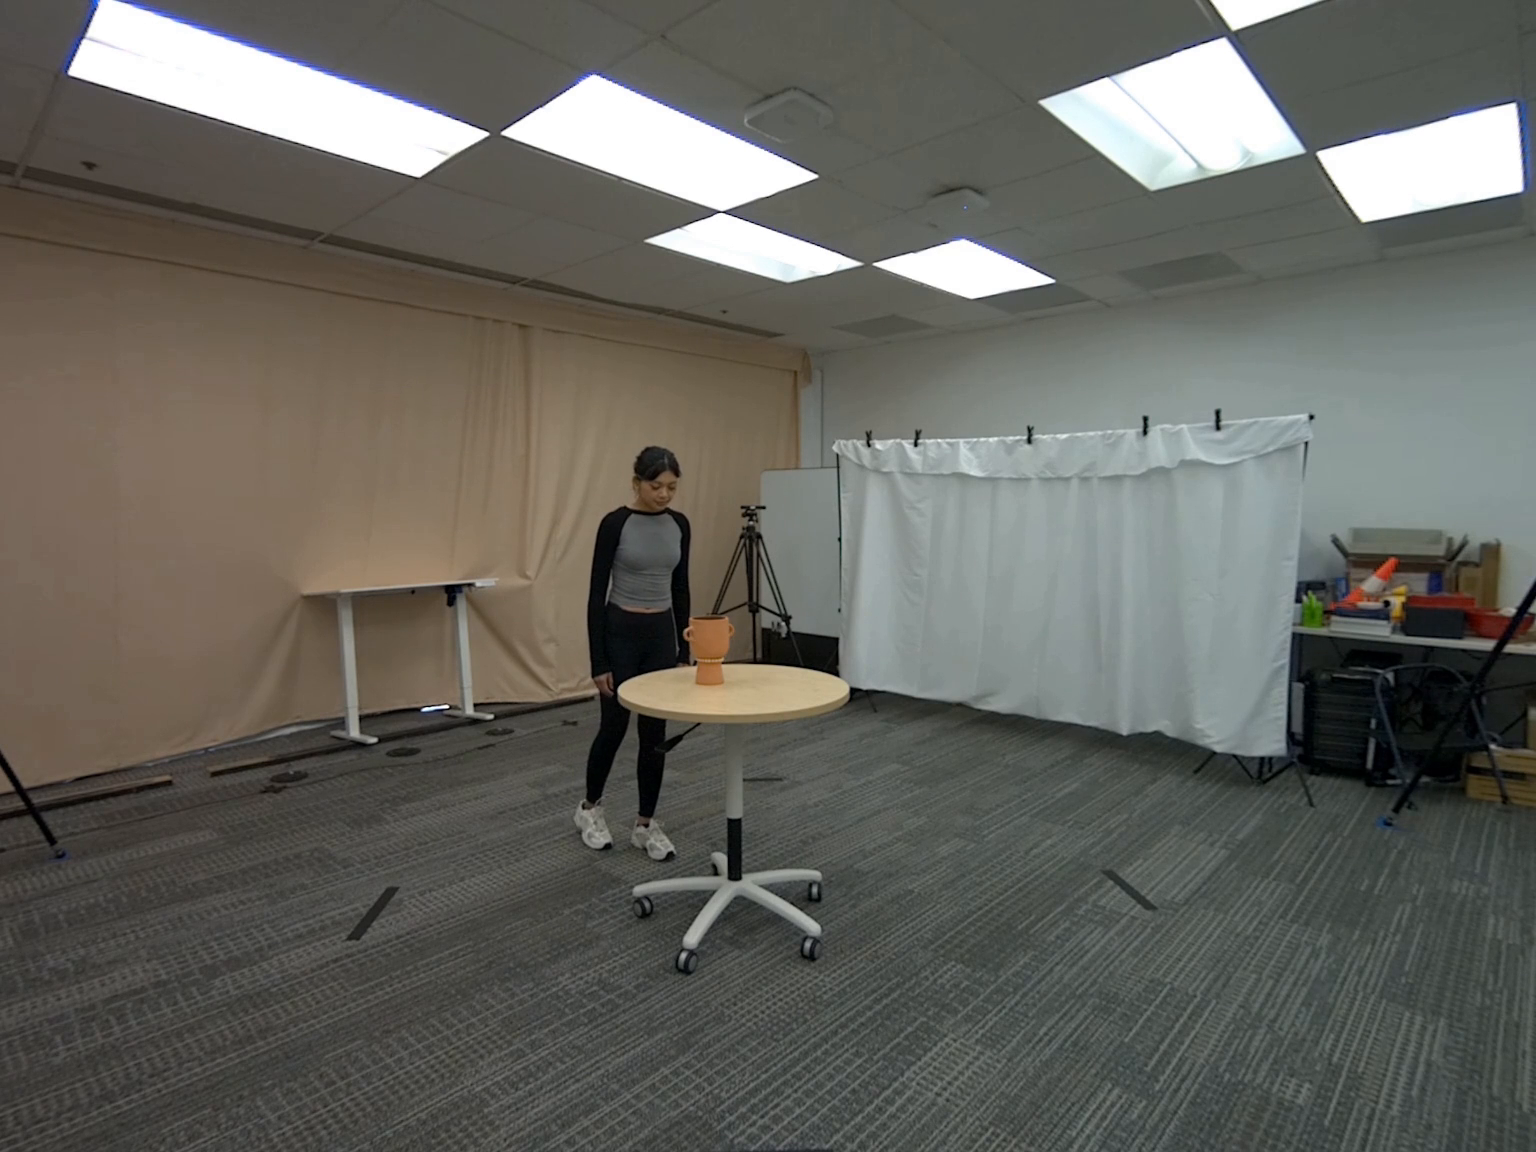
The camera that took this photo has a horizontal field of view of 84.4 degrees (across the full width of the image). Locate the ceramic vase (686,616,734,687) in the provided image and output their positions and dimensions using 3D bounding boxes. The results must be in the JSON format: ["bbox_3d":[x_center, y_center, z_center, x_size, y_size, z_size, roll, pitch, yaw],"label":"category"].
[{"bbox_3d":[-0.197,0.255,2.852,0.160,0.219,0.134,0,3,6],"label":"ceramic vase"}]
